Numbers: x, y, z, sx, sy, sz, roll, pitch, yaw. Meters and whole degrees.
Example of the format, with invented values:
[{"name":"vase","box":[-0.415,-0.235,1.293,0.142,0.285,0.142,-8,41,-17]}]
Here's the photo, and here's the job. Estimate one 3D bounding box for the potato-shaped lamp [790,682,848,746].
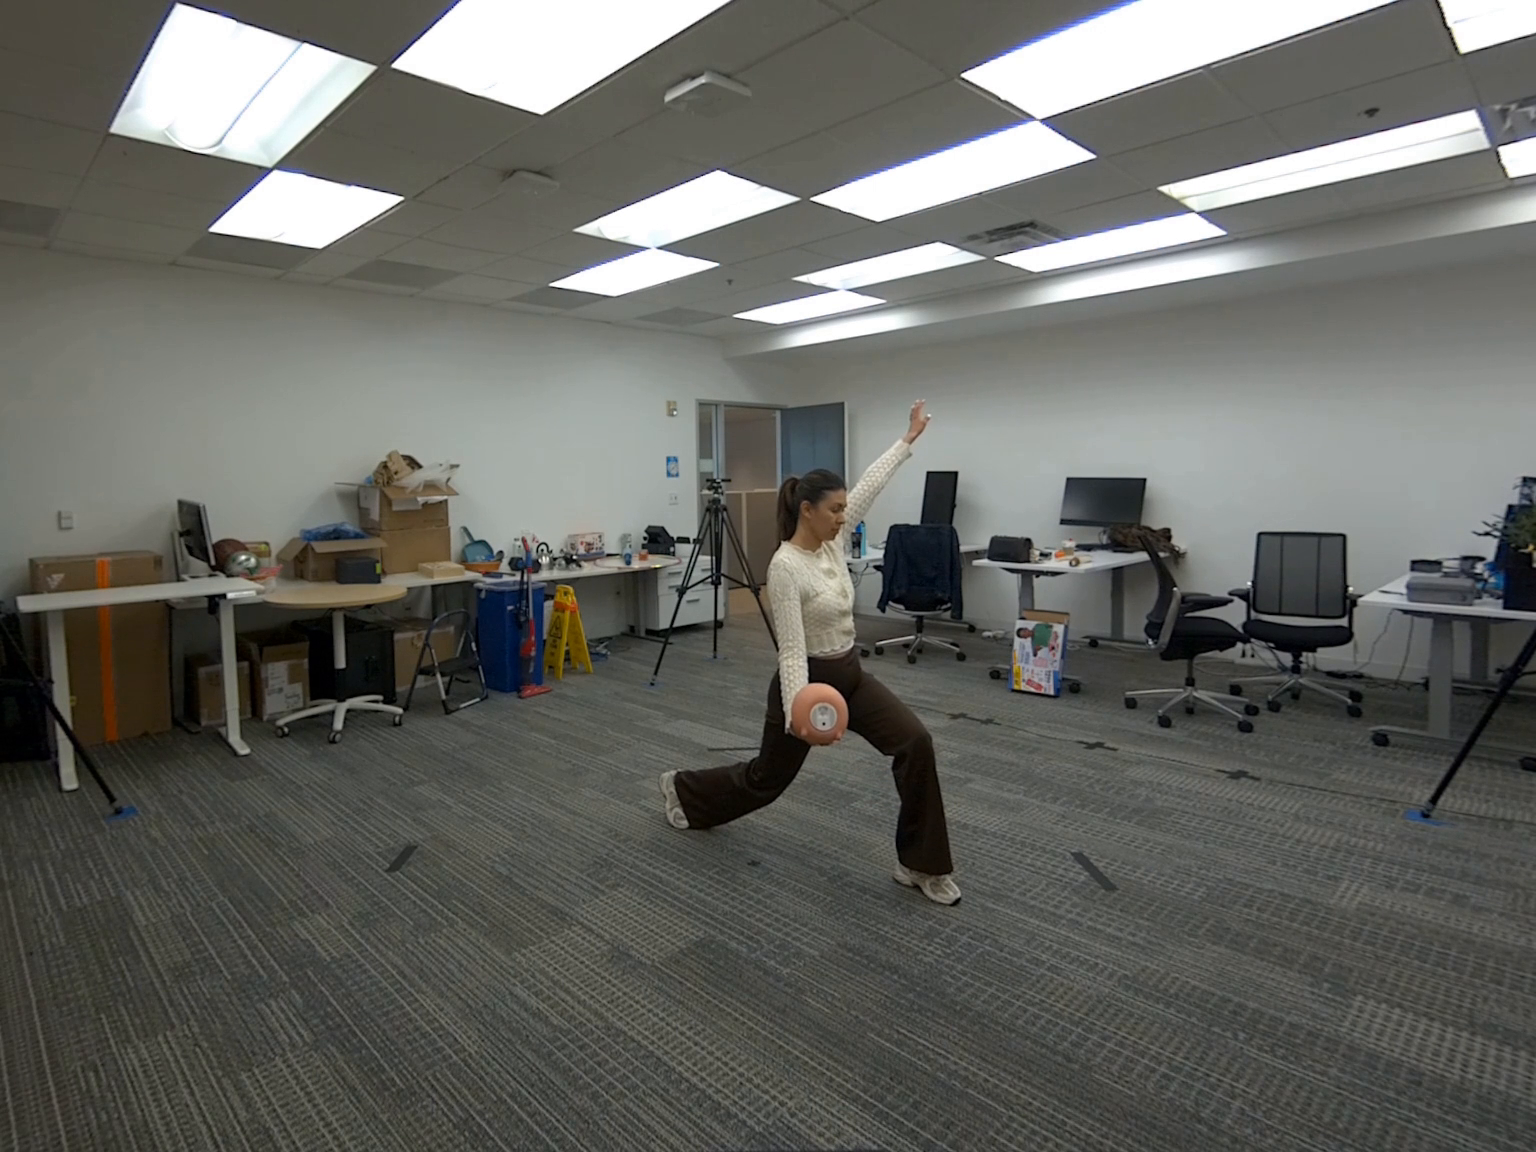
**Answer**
[{"name":"potato-shaped lamp","box":[0.146,0.410,2.531,0.163,0.173,0.198,11,-10,-7]}]
